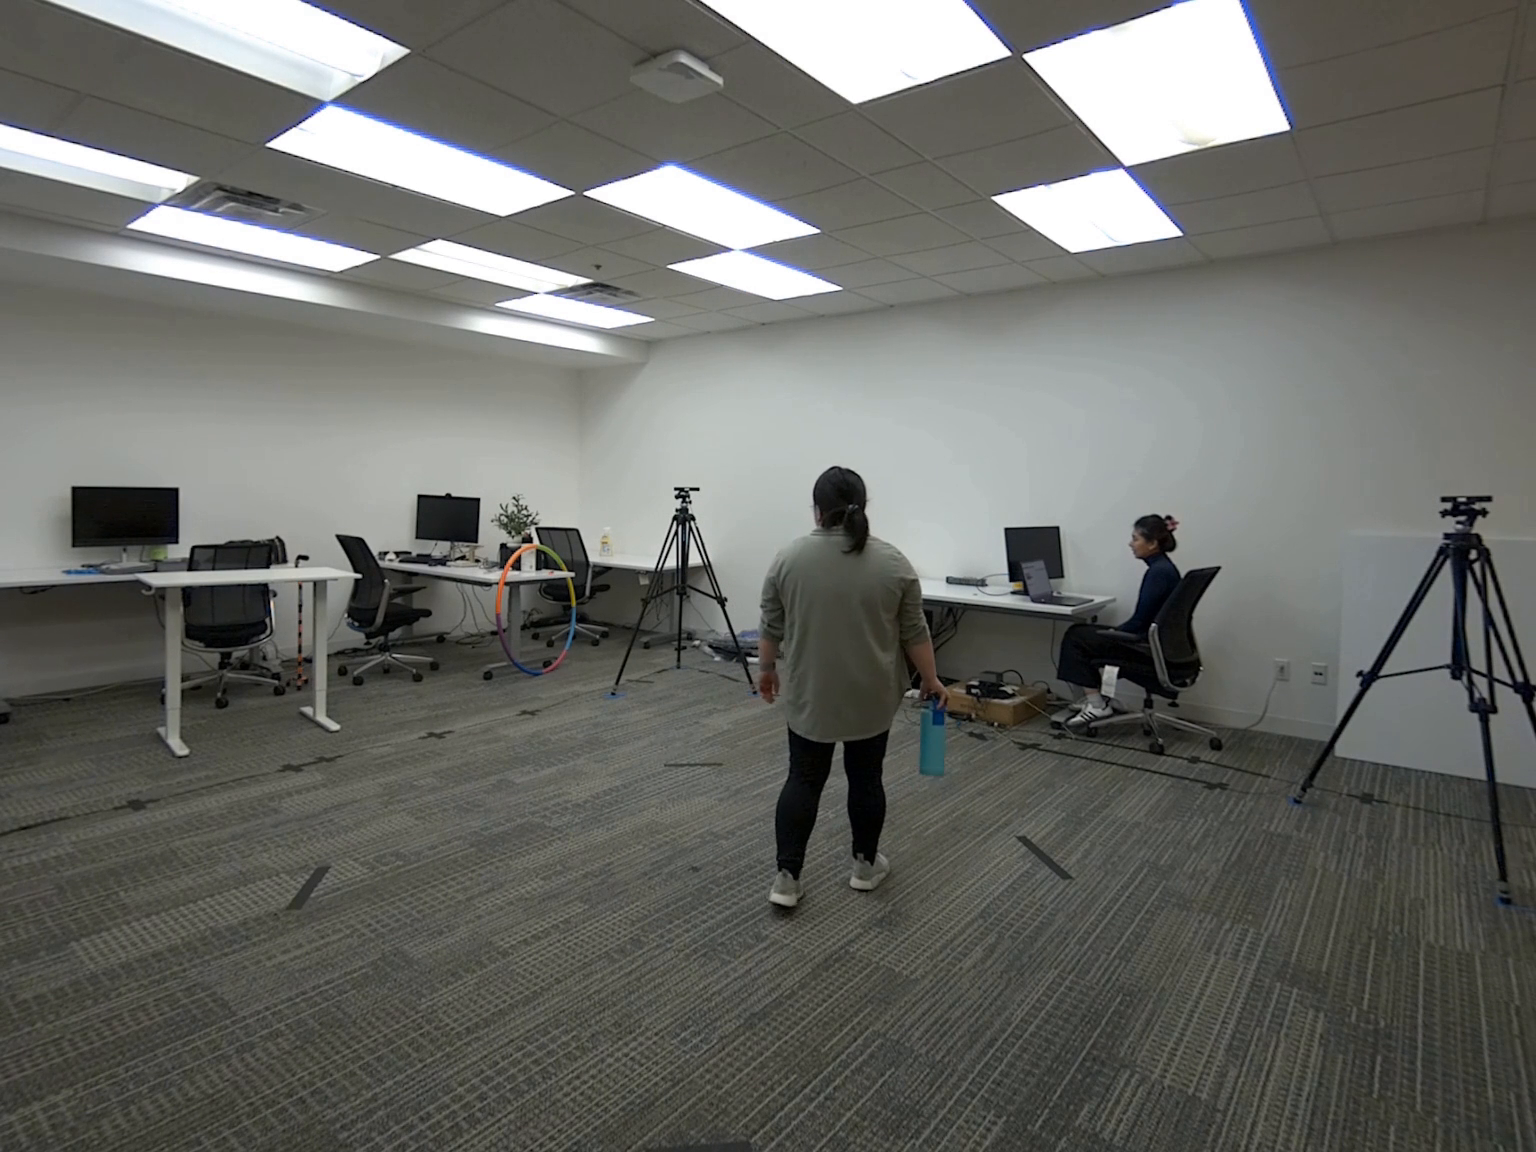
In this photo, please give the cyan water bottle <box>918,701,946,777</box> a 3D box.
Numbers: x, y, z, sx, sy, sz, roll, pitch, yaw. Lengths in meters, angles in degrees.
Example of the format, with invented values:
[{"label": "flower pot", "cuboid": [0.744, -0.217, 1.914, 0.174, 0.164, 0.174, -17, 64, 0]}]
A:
[{"label": "cyan water bottle", "cuboid": [0.573, 0.557, 2.994, 0.092, 0.285, 0.092, 3, -5, -2]}]
